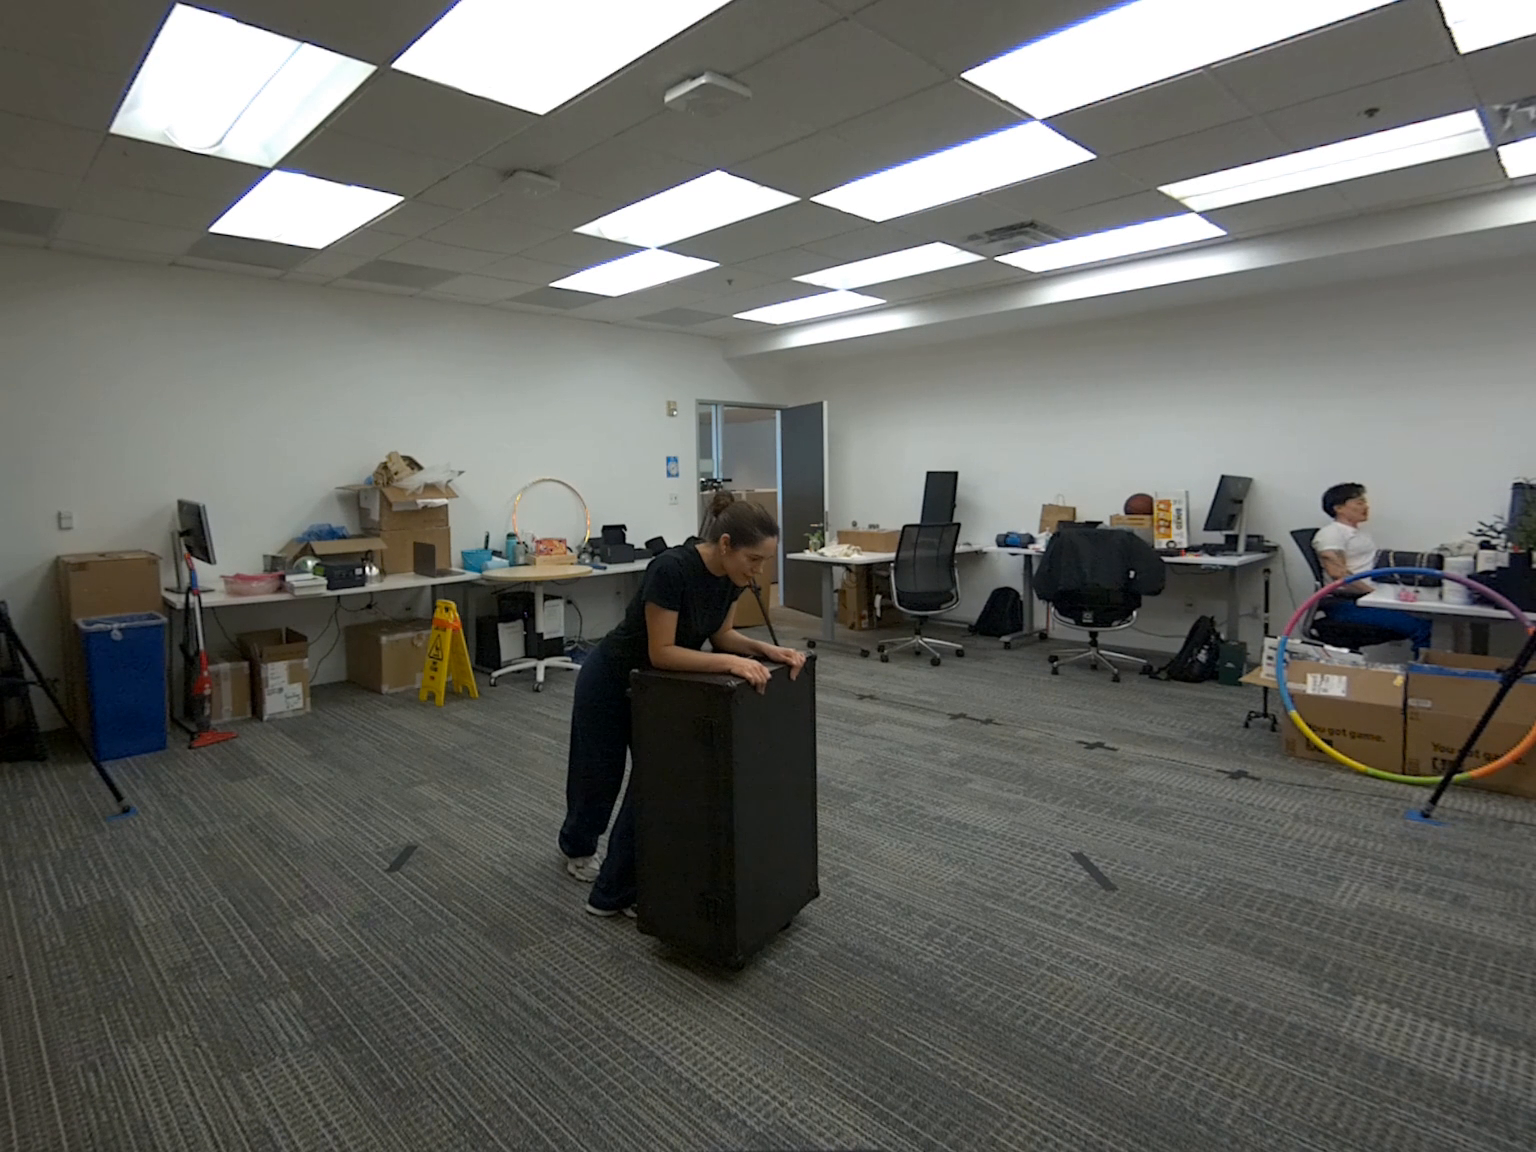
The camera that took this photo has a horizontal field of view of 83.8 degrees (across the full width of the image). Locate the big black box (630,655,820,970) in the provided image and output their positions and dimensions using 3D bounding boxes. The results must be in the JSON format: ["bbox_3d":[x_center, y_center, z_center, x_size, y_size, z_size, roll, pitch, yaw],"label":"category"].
[{"bbox_3d":[-0.122,0.622,2.606,0.407,0.858,0.509,2,6,32],"label":"big black box"}]
